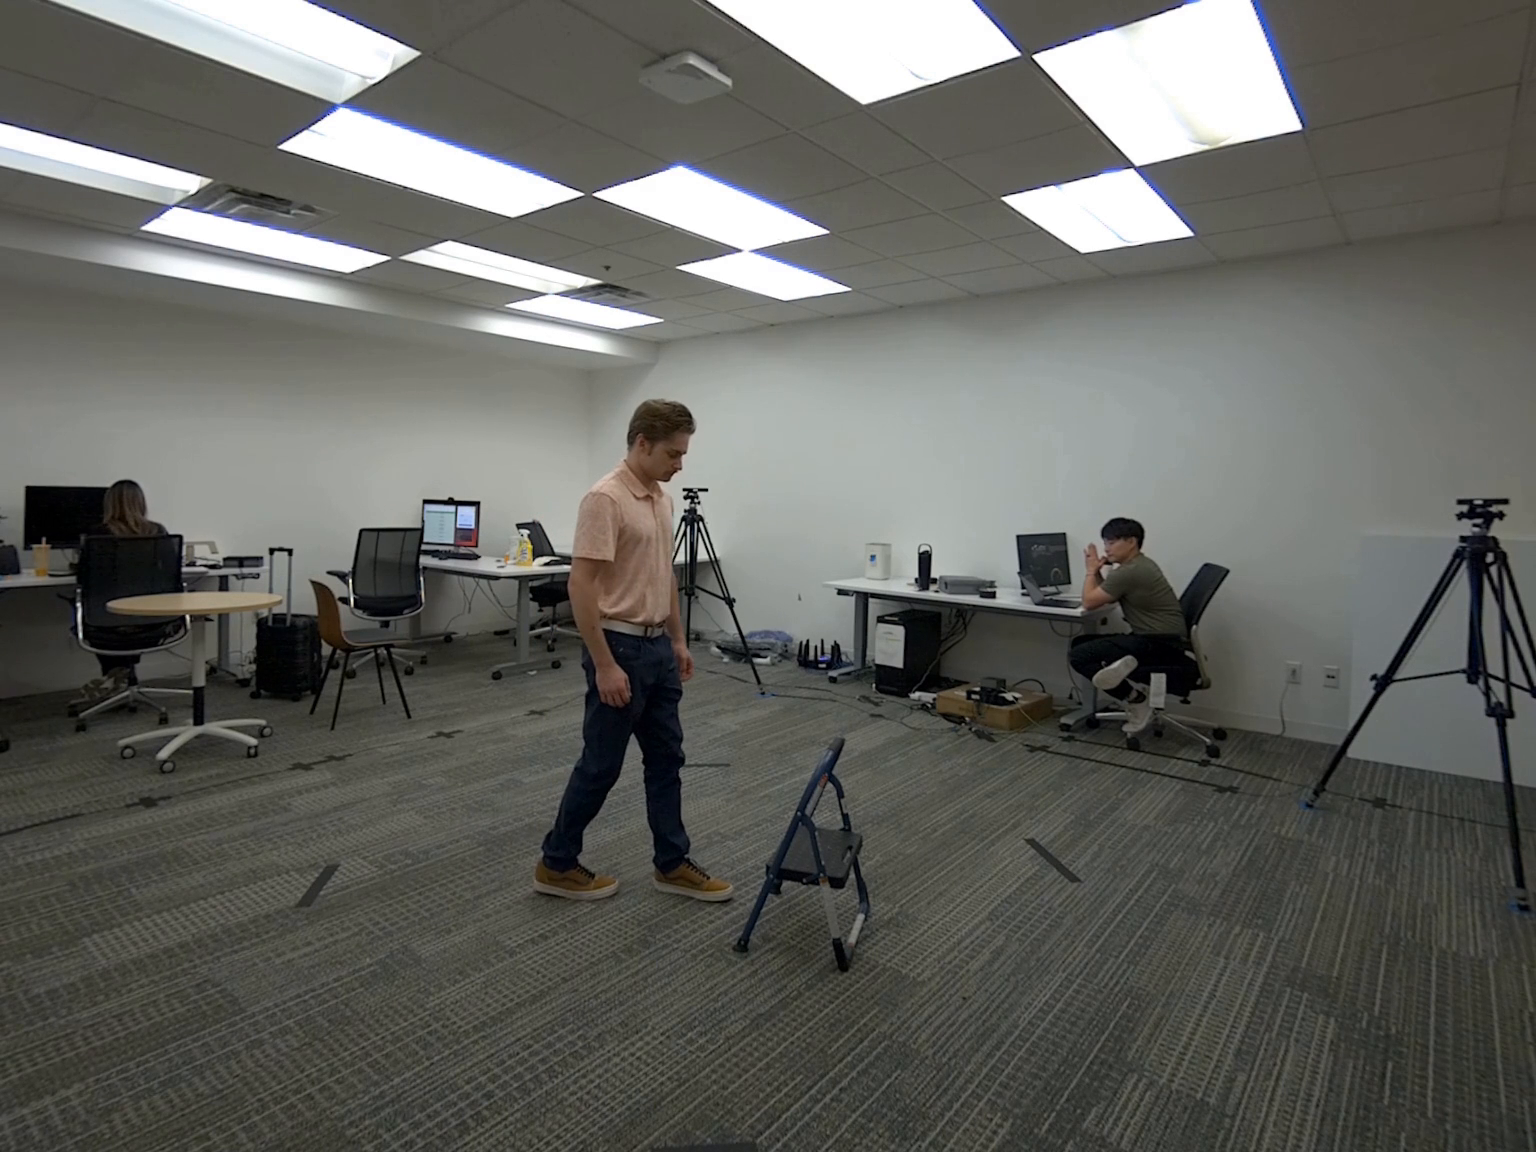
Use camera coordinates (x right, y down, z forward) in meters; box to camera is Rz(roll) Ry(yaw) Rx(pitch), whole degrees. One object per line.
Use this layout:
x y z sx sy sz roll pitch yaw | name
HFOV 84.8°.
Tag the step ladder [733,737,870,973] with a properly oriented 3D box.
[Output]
0.124 0.817 2.685 0.356 0.604 0.424 2 4 17 | step ladder
